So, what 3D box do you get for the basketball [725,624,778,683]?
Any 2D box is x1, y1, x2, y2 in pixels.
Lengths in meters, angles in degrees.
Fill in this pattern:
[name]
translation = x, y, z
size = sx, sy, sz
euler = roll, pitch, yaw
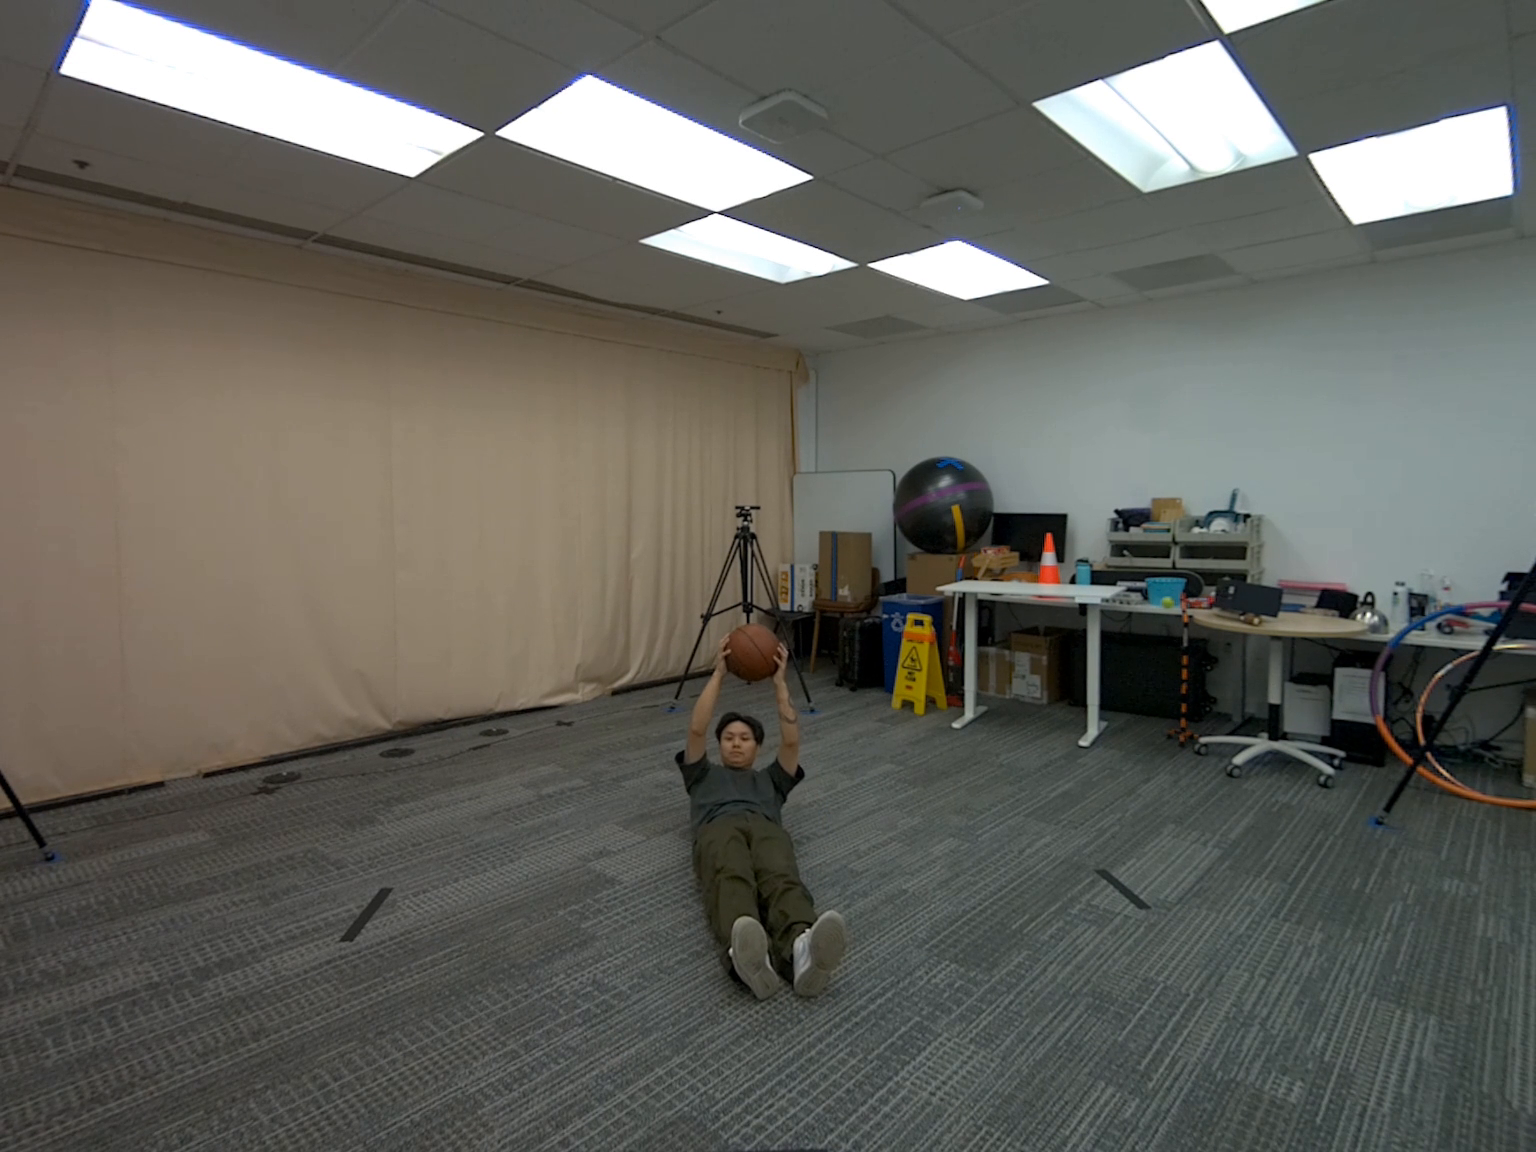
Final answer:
[basketball]
translation = -0.063, 0.320, 3.479
size = 0.236, 0.235, 0.237
euler = 0, 4, -2
